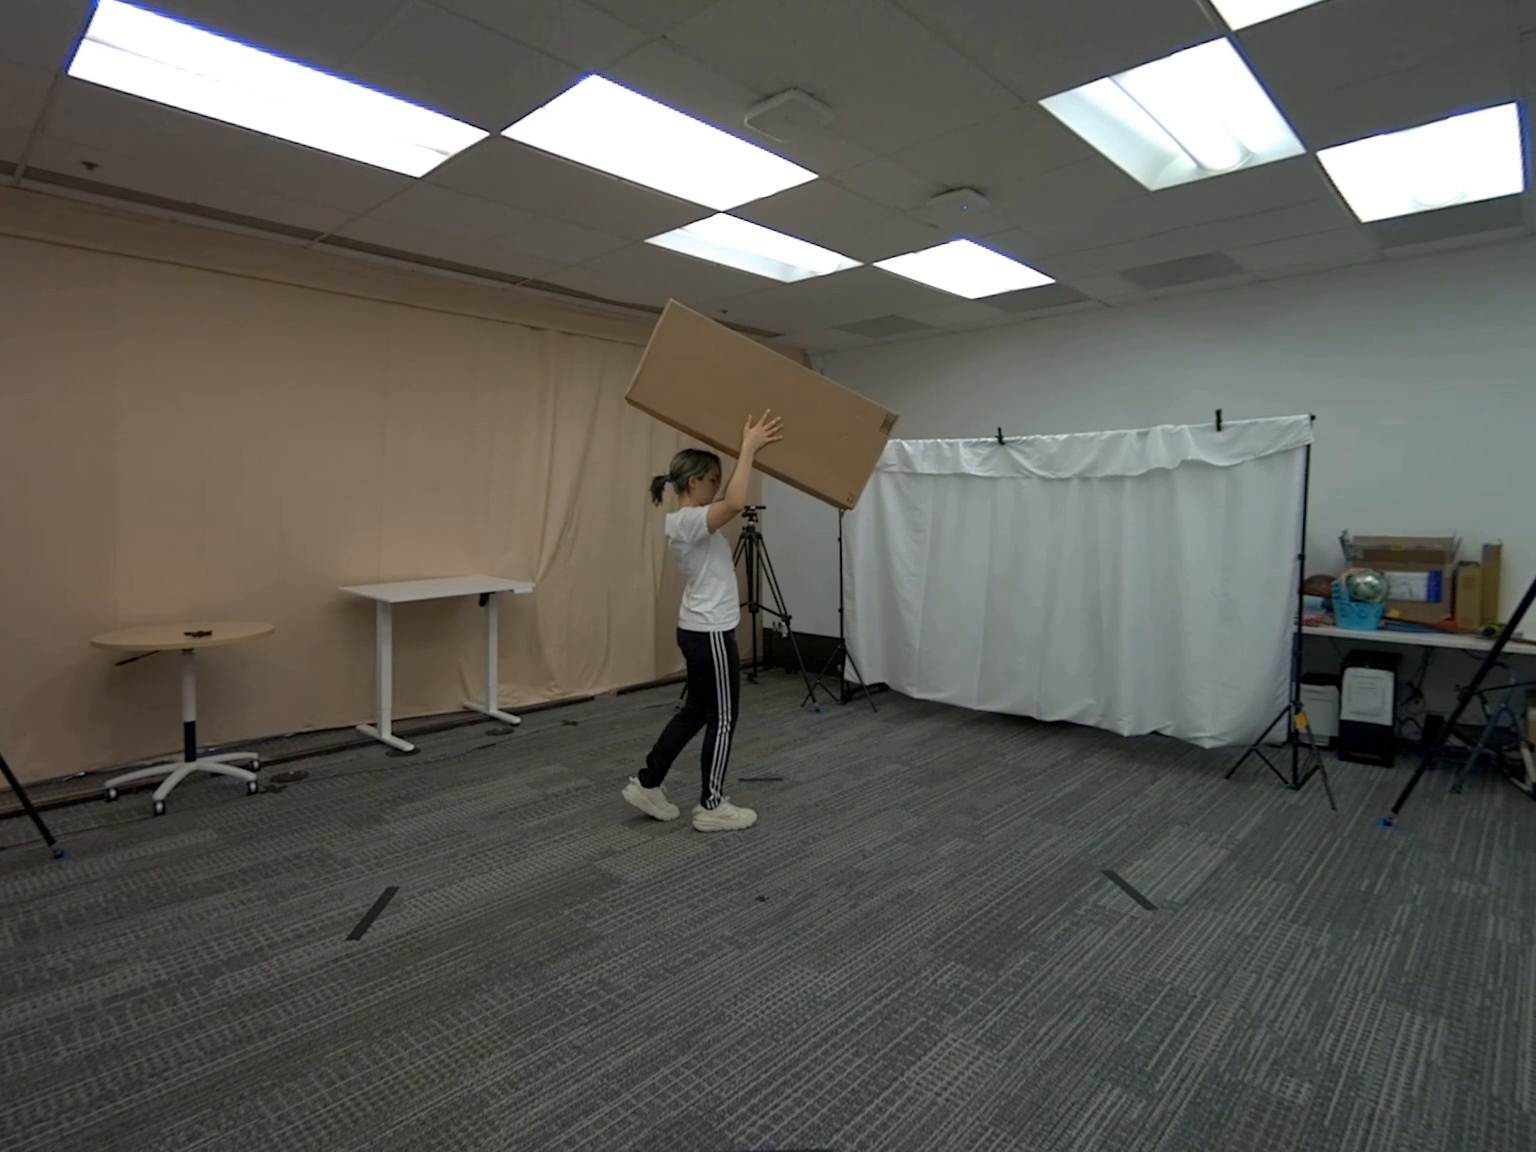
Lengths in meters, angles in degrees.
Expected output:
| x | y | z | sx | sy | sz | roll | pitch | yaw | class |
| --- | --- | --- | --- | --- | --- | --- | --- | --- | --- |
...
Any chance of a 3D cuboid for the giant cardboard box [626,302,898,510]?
| x | y | z | sx | sy | sz | roll | pitch | yaw | class |
| --- | --- | --- | --- | --- | --- | --- | --- | --- | --- |
| -0.040 | -0.704 | 3.611 | 1.021 | 0.446 | 0.588 | 26 | 3 | -6 | giant cardboard box |
